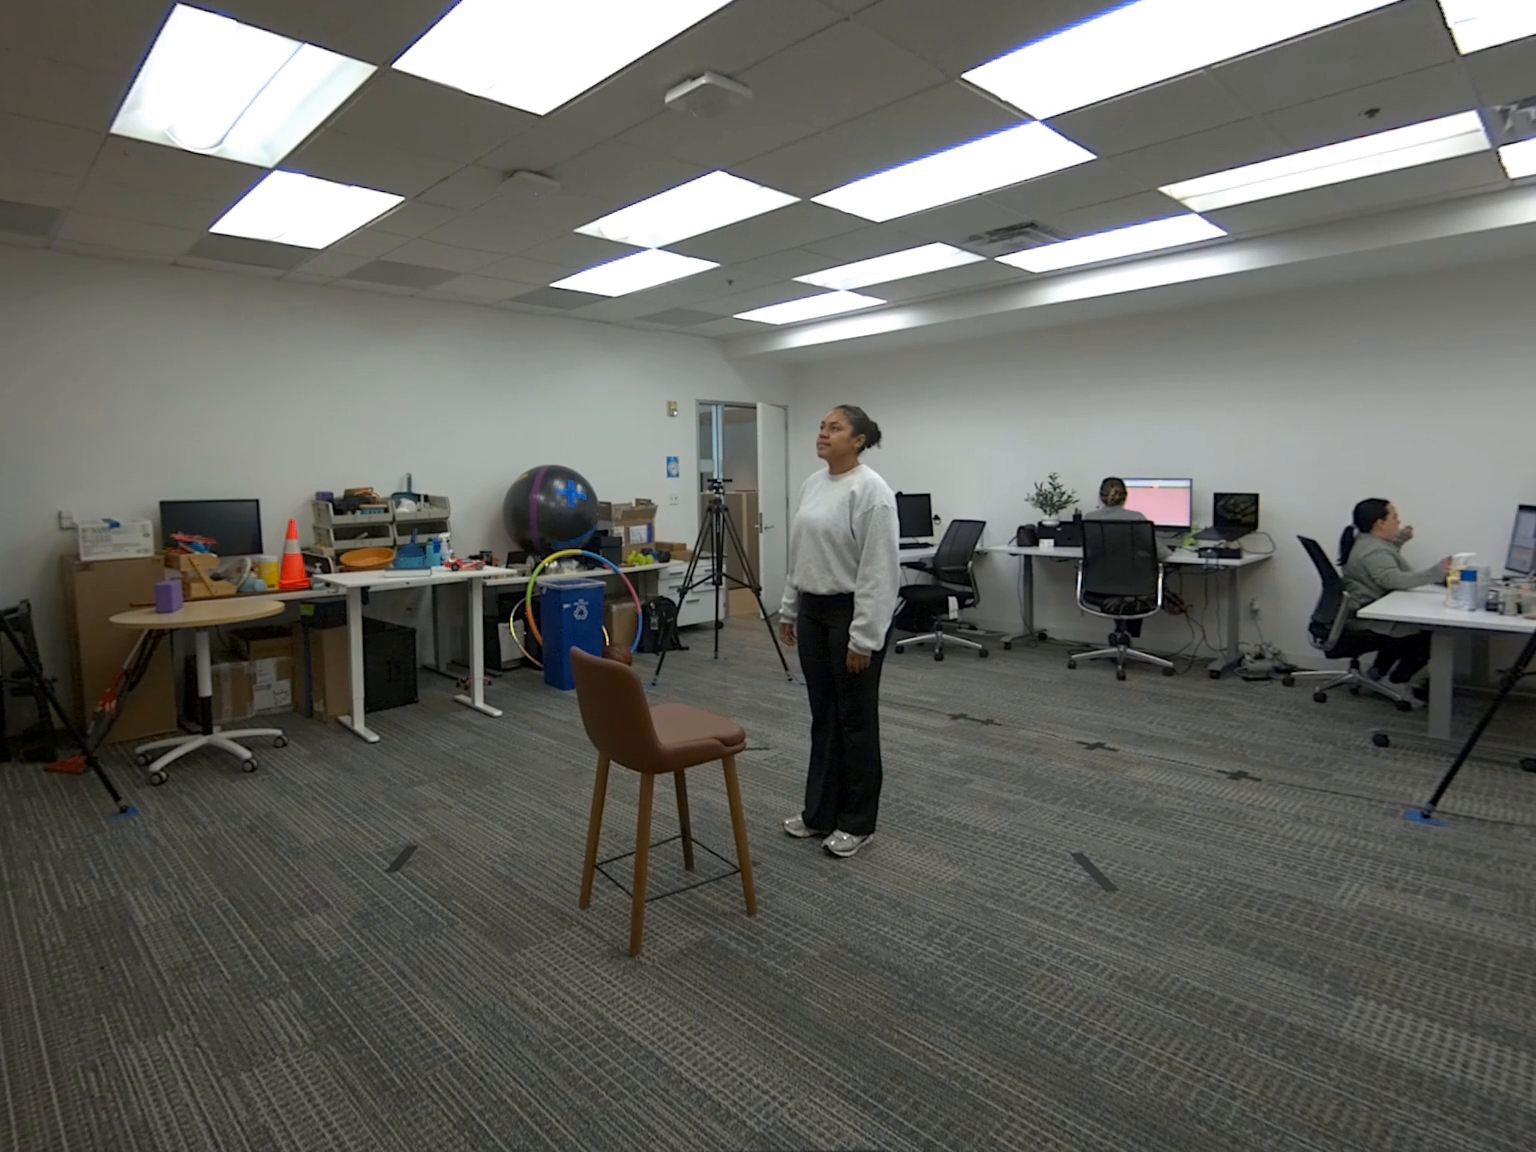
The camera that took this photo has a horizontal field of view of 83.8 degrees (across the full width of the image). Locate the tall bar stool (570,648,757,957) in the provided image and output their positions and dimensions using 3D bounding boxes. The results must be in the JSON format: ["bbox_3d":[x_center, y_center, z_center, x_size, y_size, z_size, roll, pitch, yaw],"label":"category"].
[{"bbox_3d":[-0.343,0.656,2.757,0.456,0.885,0.470,-7,7,-36],"label":"tall bar stool"}]
